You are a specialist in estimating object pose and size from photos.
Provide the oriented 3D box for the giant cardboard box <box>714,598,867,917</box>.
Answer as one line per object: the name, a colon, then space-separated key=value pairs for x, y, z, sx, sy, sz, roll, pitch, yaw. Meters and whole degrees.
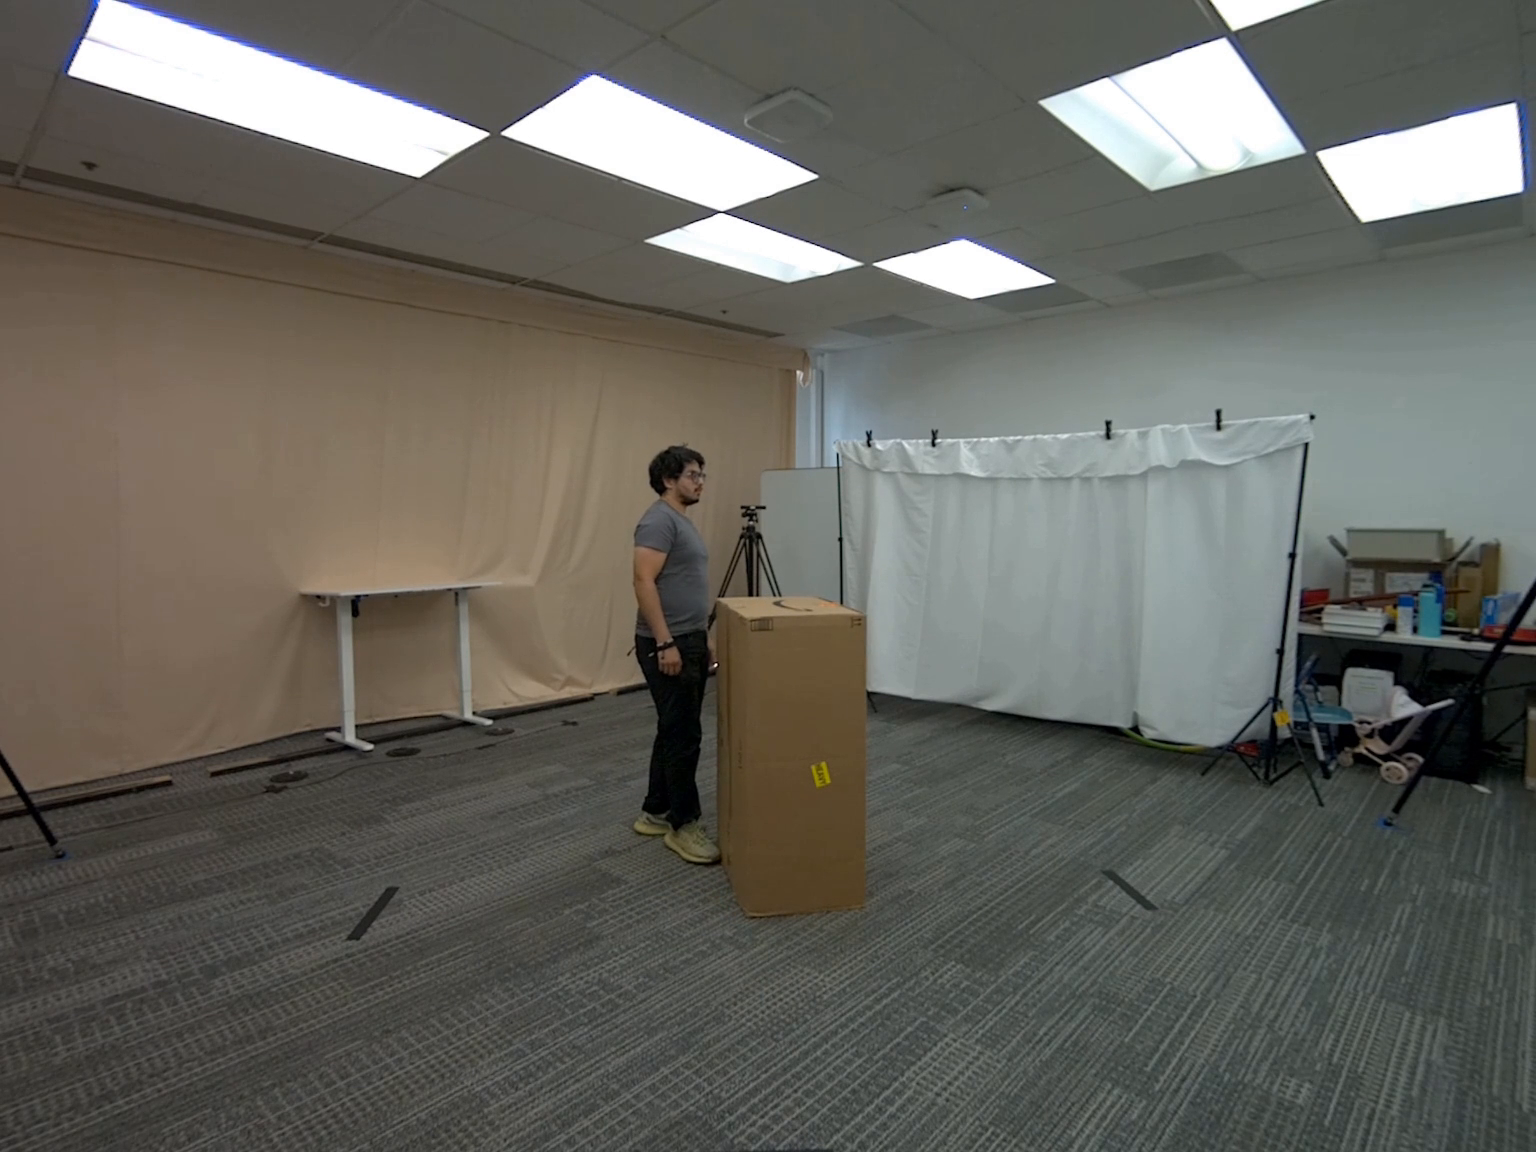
giant cardboard box: x=0.070 y=0.620 z=3.130 sx=0.441 sy=1.025 sz=0.593 roll=-1 pitch=3 yaw=-14
